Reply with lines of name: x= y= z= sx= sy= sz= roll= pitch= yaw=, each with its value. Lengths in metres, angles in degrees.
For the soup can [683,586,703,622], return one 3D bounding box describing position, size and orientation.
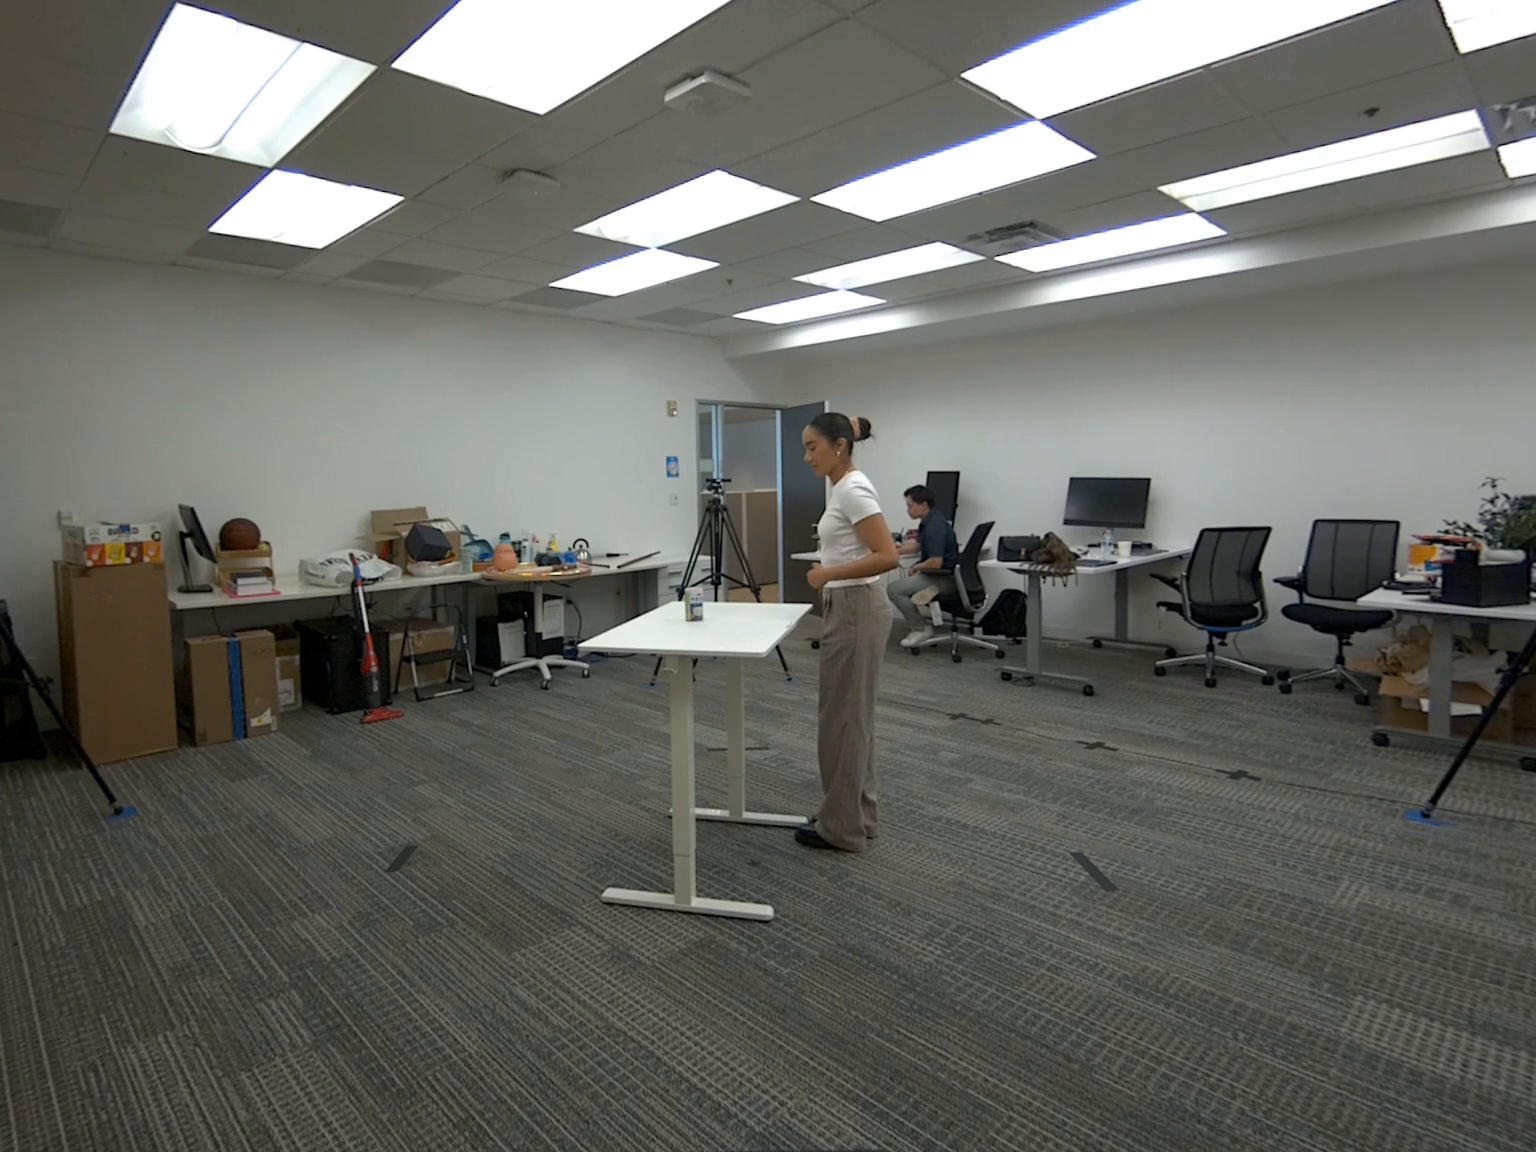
soup can: x=-0.267 y=0.104 z=3.133 sx=0.067 sy=0.120 sz=0.068 roll=-1 pitch=9 yaw=-2
